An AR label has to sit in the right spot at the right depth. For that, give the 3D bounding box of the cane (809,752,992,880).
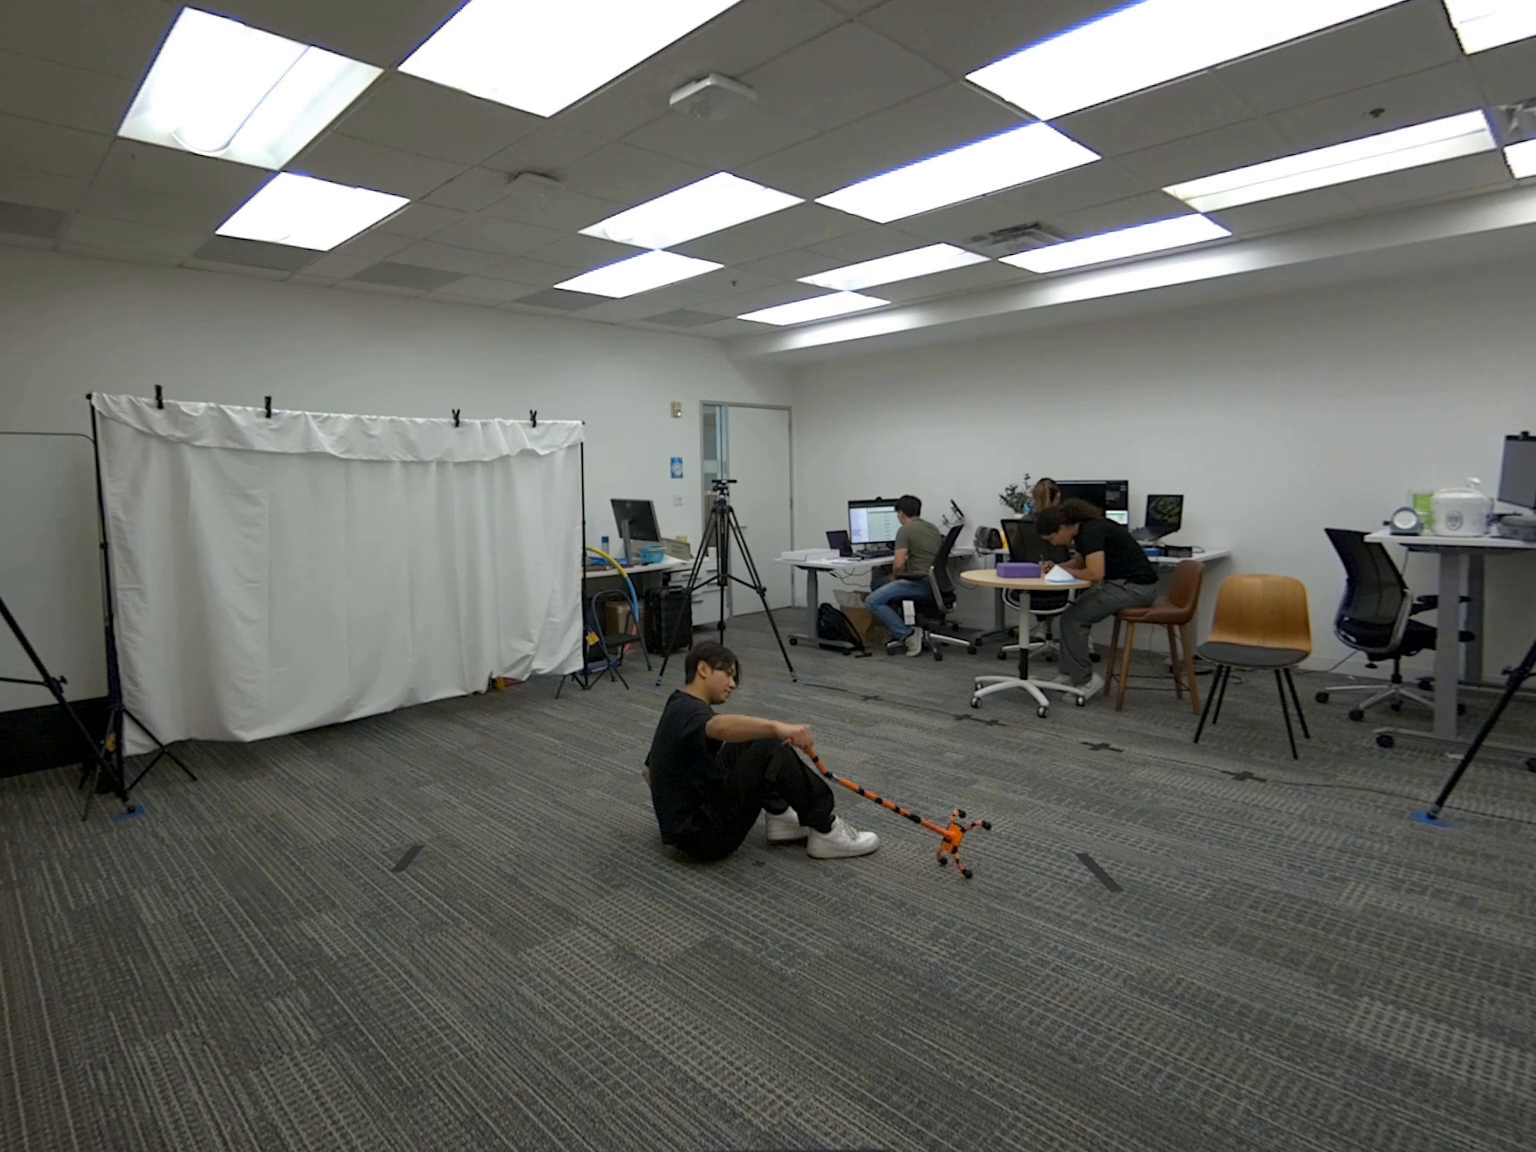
[{"bbox_3d":[0.363,0.745,2.834,0.880,0.207,0.155,31,-11,-26],"label":"cane"}]
